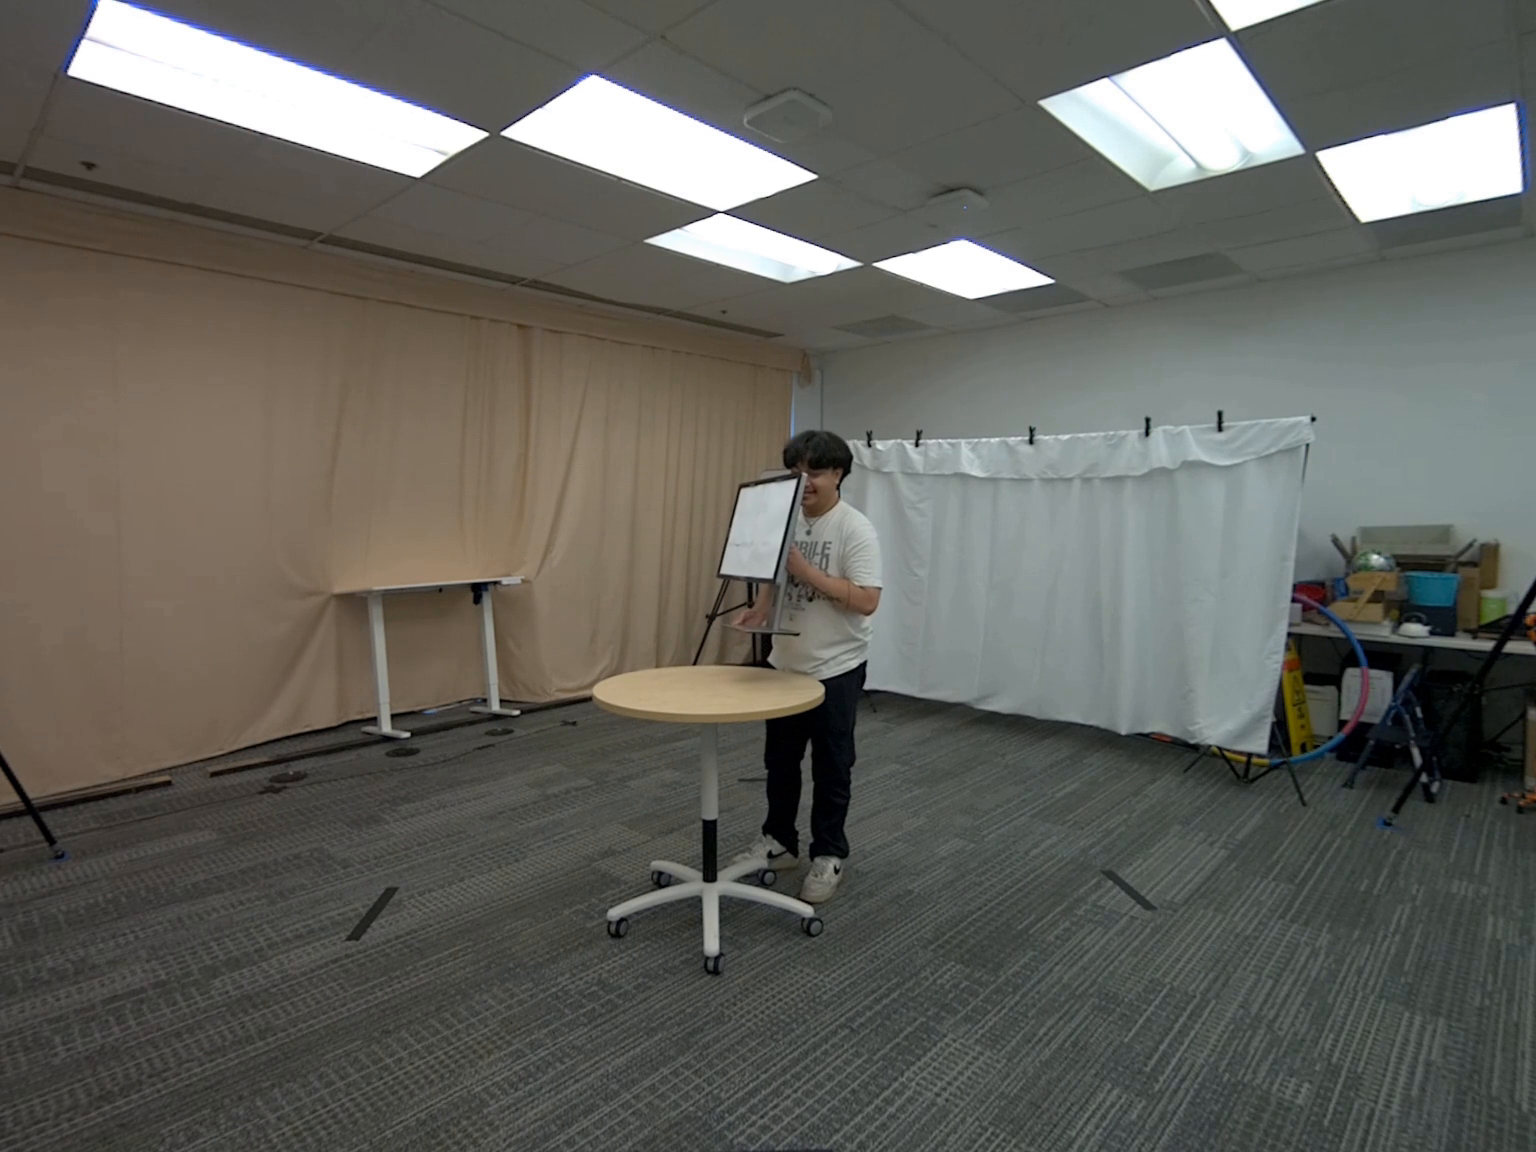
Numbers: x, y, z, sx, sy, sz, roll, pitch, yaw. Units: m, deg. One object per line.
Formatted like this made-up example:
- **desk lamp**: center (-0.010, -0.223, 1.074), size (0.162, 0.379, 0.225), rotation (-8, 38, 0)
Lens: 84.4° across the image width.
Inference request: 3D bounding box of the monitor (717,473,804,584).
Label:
- **monitor**: center (0.020, -0.060, 2.905), size (0.205, 0.555, 0.578), rotation (9, -3, -22)
